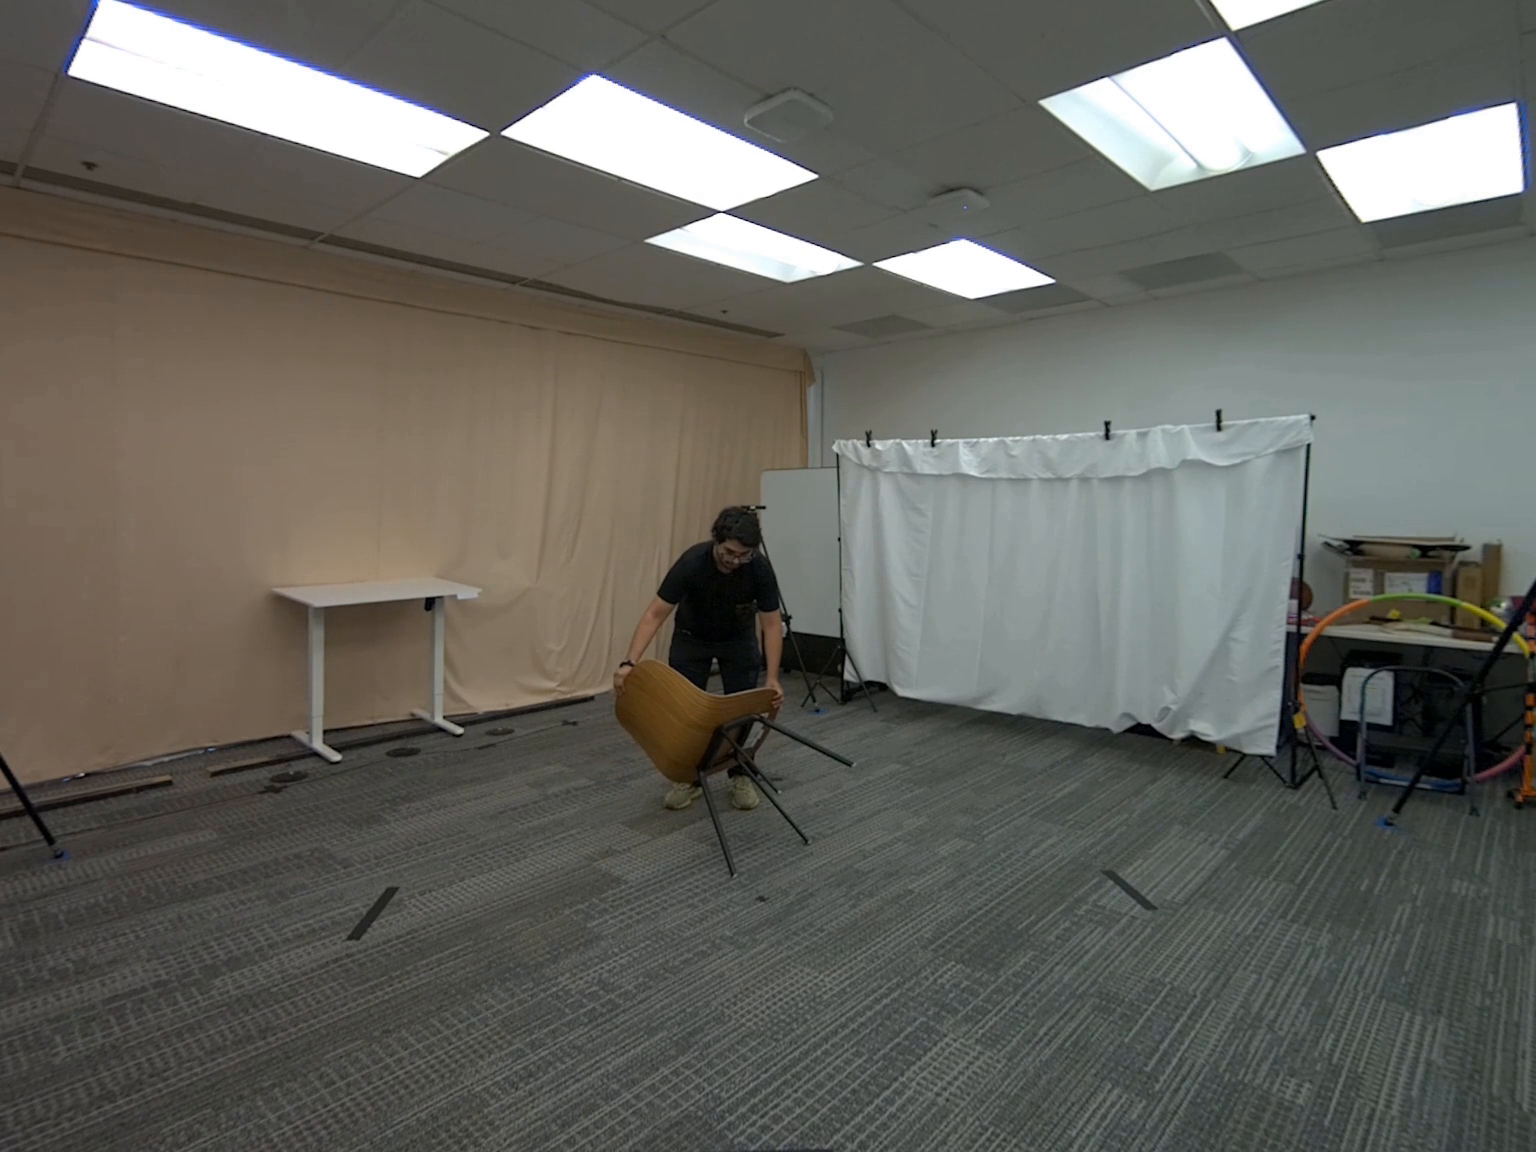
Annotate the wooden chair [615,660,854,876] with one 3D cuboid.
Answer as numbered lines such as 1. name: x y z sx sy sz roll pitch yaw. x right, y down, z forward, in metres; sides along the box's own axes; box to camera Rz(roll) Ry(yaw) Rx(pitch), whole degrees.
1. wooden chair: -0.162 0.688 3.465 0.906 0.476 0.508 39 29 30
